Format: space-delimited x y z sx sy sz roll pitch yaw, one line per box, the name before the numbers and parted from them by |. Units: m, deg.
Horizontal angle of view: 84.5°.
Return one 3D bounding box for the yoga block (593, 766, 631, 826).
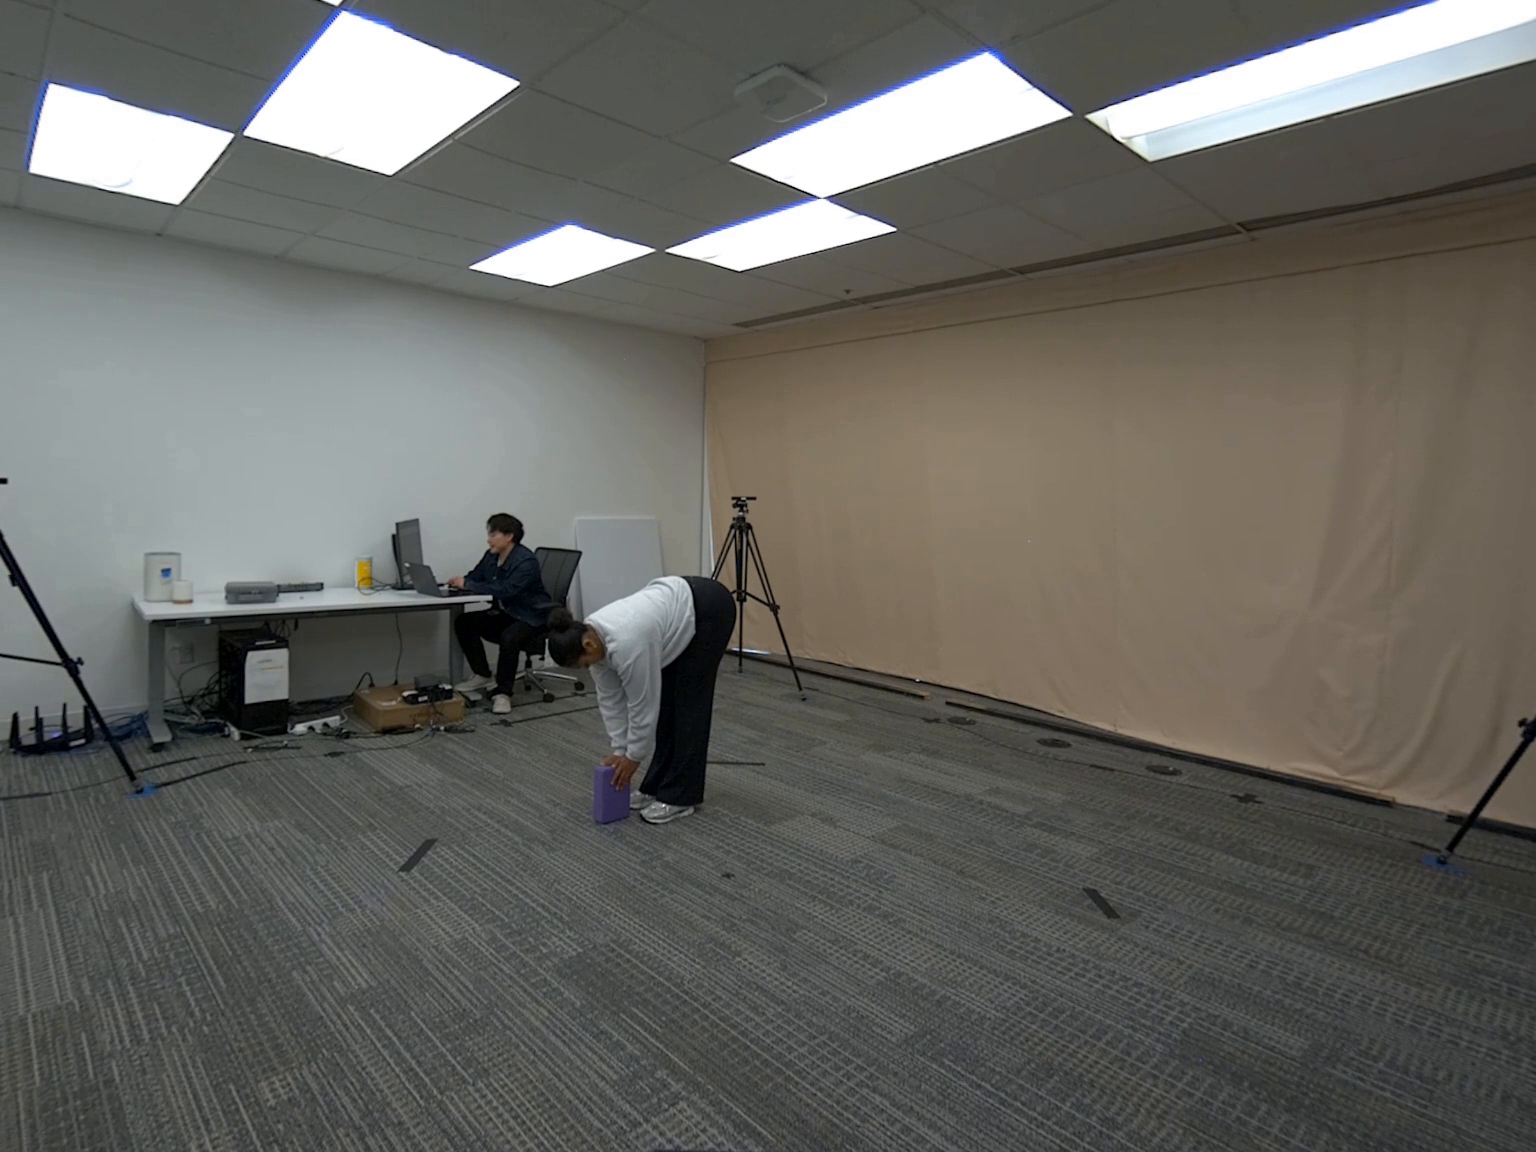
yoga block | -0.680 0.930 3.623 0.078 0.229 0.145 1 2 44
